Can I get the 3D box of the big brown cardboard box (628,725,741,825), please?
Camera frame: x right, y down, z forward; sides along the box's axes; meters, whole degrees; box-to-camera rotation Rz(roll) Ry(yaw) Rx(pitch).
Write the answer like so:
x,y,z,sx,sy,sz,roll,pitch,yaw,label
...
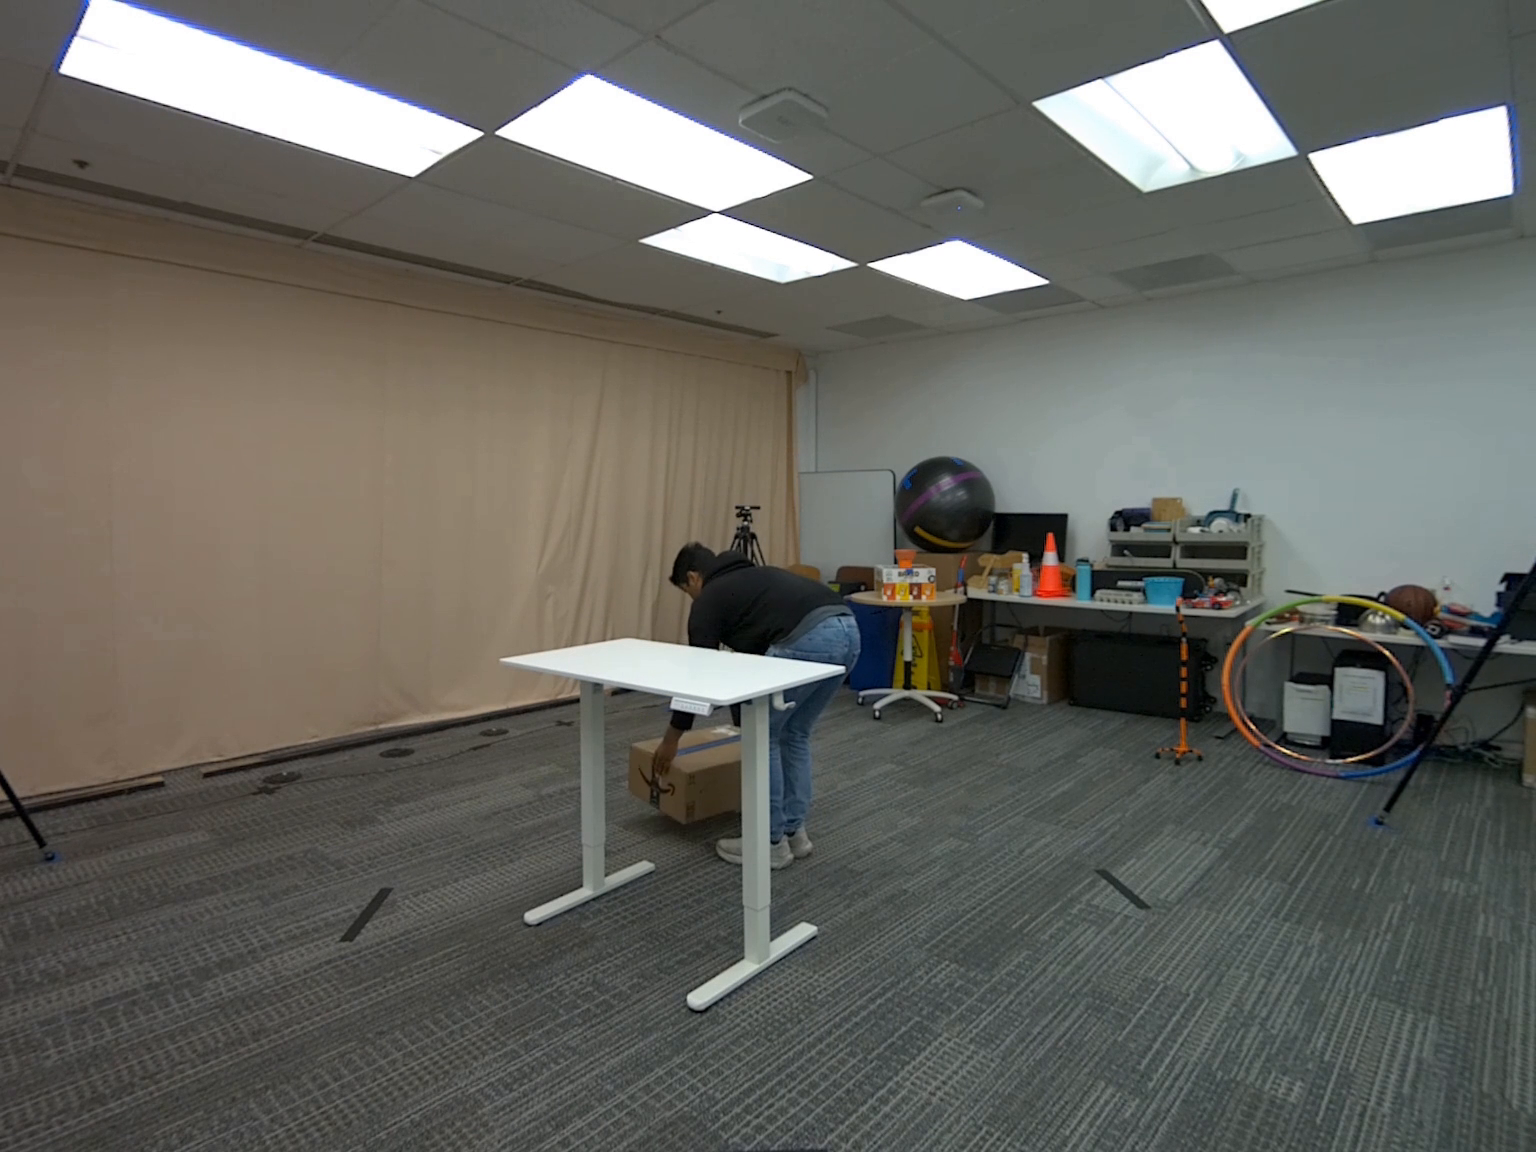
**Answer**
x,y,z,sx,sy,sz,roll,pitch,yaw,label
-0.262,0.843,3.708,0.571,0.232,0.432,-5,9,-41,big brown cardboard box
